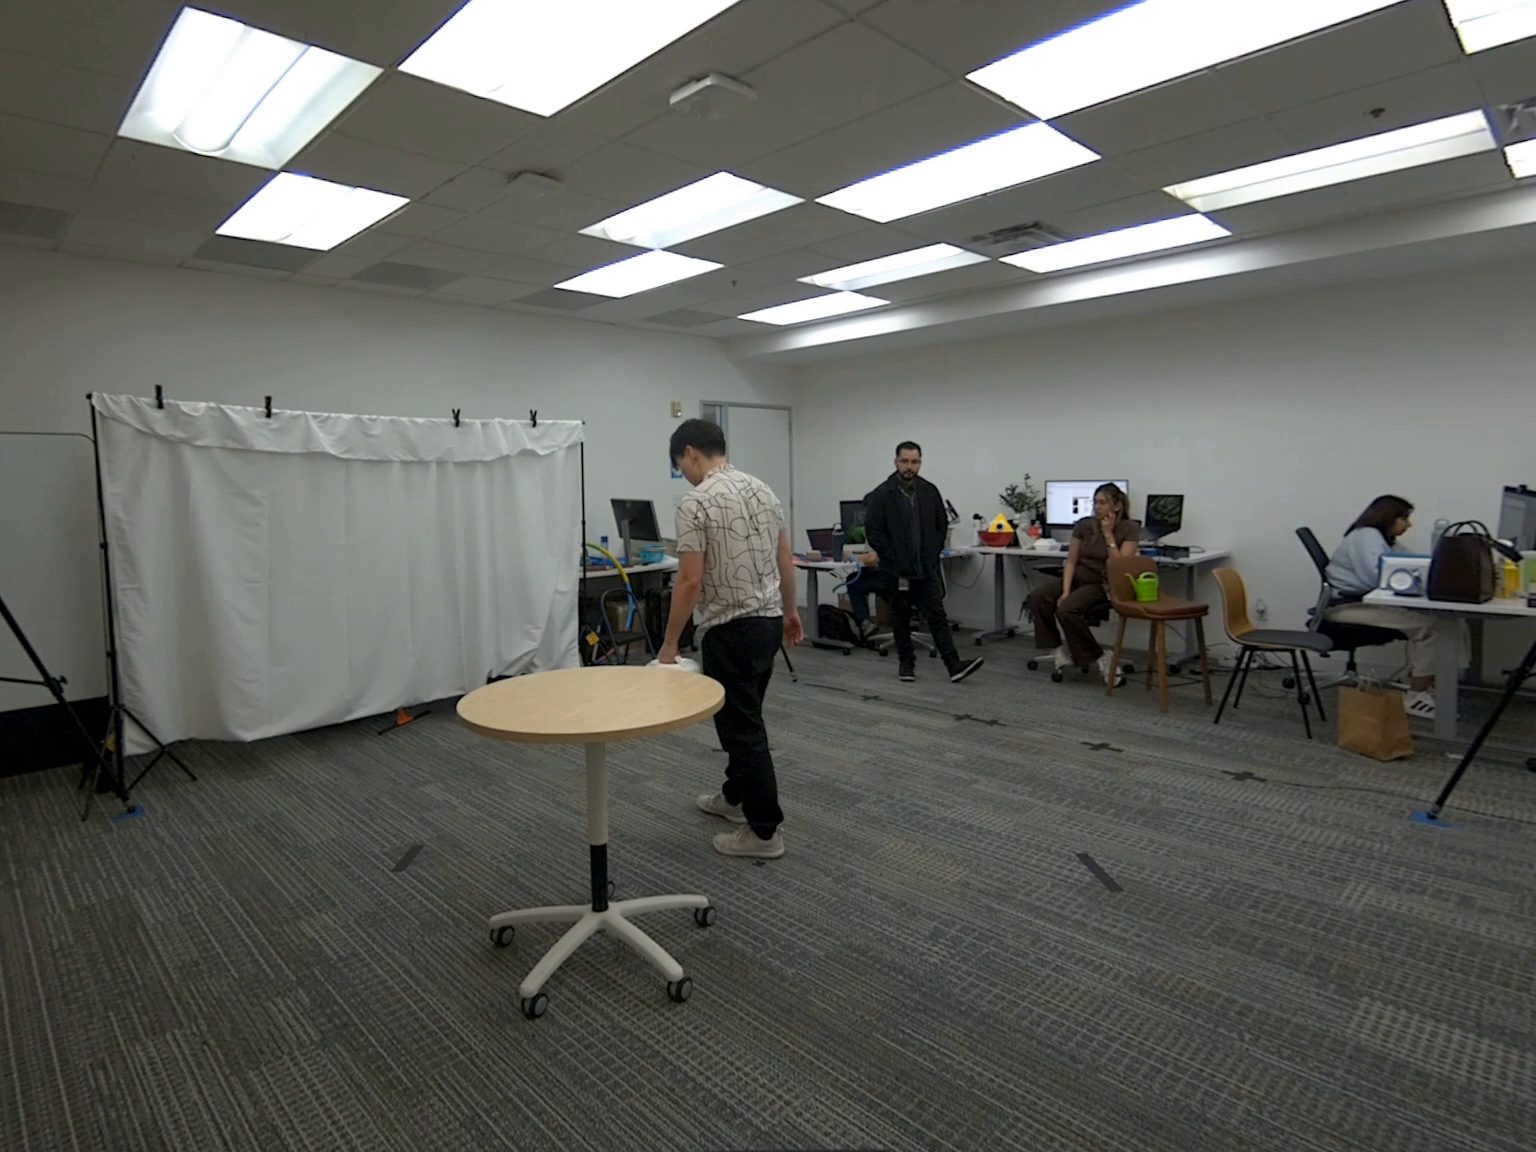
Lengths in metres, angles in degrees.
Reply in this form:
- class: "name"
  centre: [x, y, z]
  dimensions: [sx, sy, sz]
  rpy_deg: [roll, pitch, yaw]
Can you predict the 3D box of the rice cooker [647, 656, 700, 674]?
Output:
- class: "rice cooker"
  centre: [-0.336, 0.400, 3.130]
  dimensions: [0.212, 0.233, 0.226]
  rpy_deg: [-1, 1, -31]
